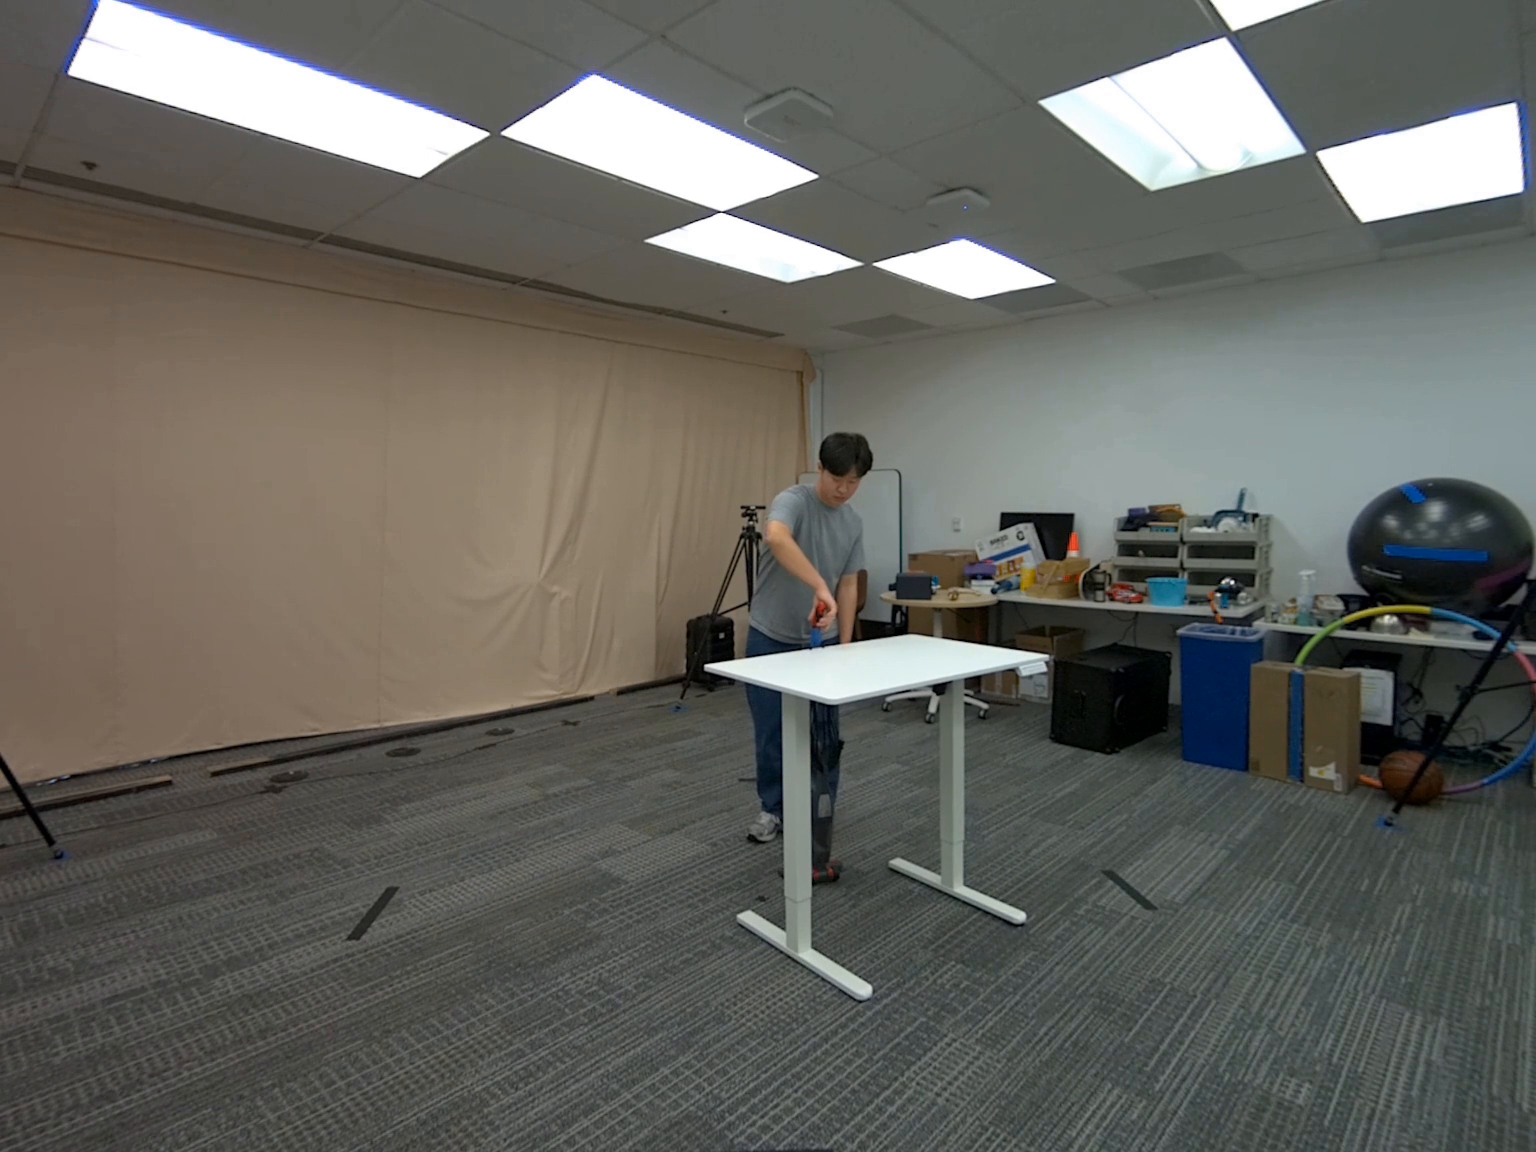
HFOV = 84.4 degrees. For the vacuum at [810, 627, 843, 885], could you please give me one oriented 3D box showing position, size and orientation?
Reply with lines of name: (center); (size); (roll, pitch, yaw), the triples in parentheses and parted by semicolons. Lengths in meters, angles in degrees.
vacuum: (0.191, 0.610, 3.083); (0.249, 1.043, 0.147); (-3, 9, -13)
